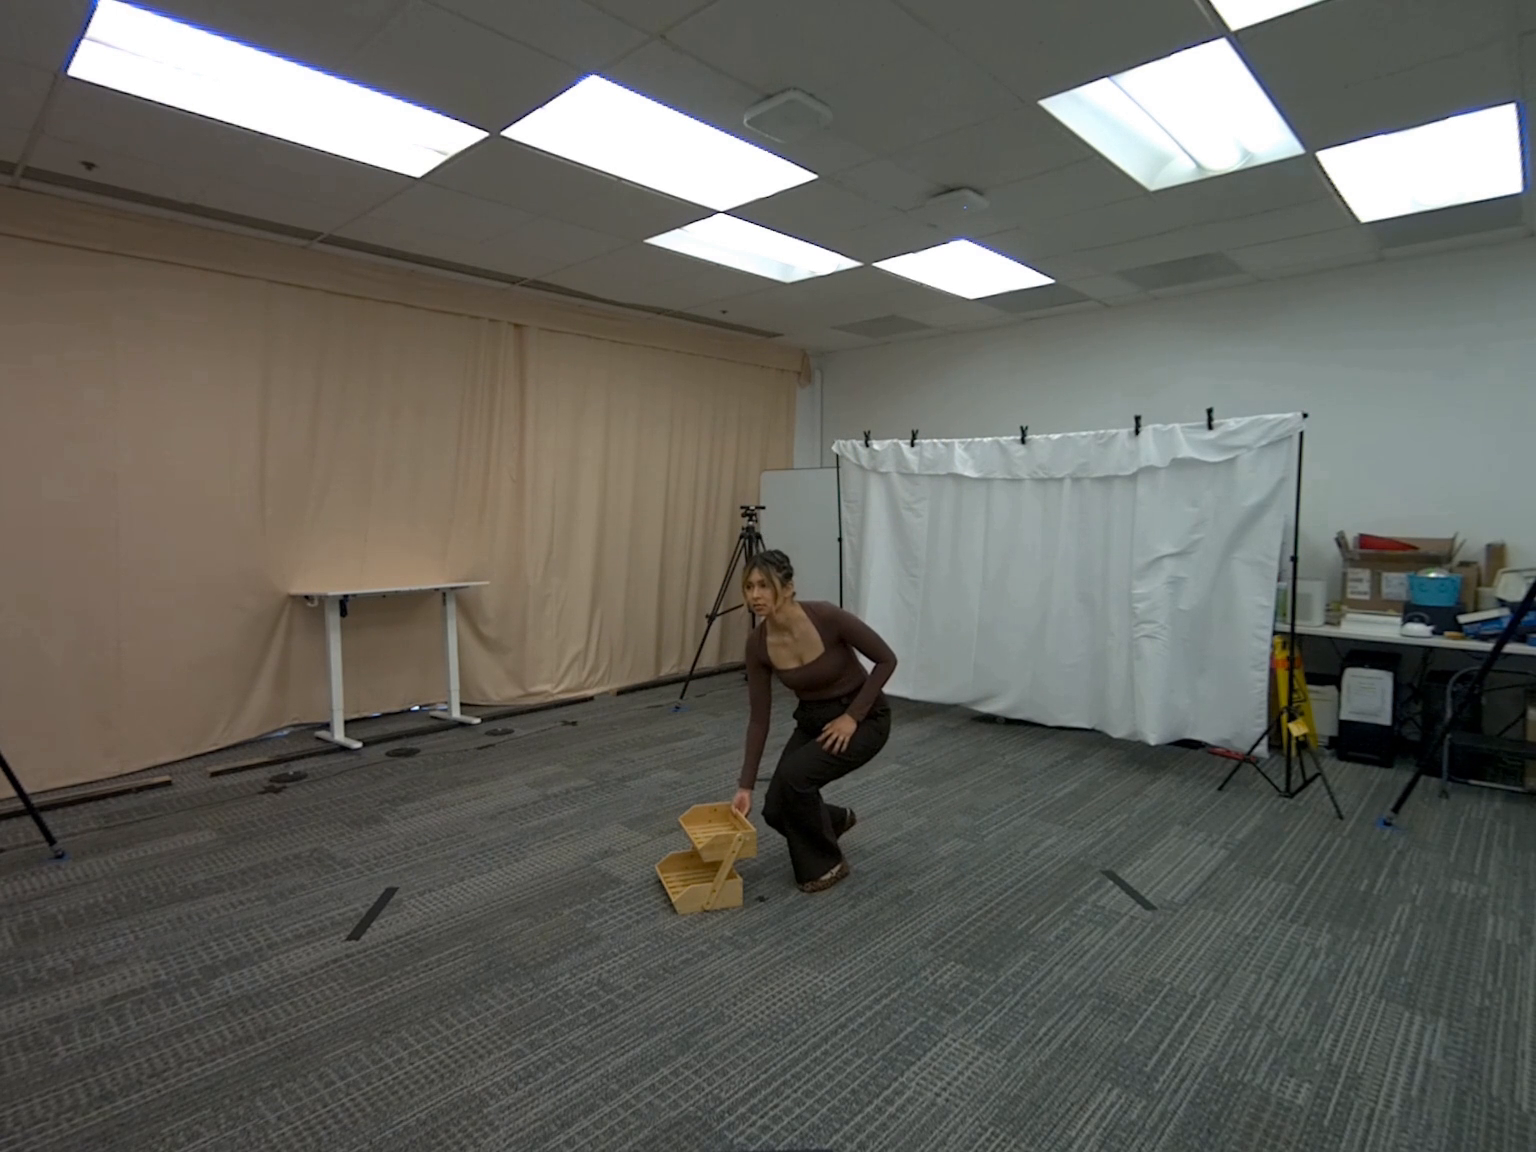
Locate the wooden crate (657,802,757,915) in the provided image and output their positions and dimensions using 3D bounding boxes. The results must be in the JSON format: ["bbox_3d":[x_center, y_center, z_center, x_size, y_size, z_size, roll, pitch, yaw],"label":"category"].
[{"bbox_3d":[-0.232,1.008,3.044,0.296,0.273,0.331,-1,4,-19],"label":"wooden crate"}]
